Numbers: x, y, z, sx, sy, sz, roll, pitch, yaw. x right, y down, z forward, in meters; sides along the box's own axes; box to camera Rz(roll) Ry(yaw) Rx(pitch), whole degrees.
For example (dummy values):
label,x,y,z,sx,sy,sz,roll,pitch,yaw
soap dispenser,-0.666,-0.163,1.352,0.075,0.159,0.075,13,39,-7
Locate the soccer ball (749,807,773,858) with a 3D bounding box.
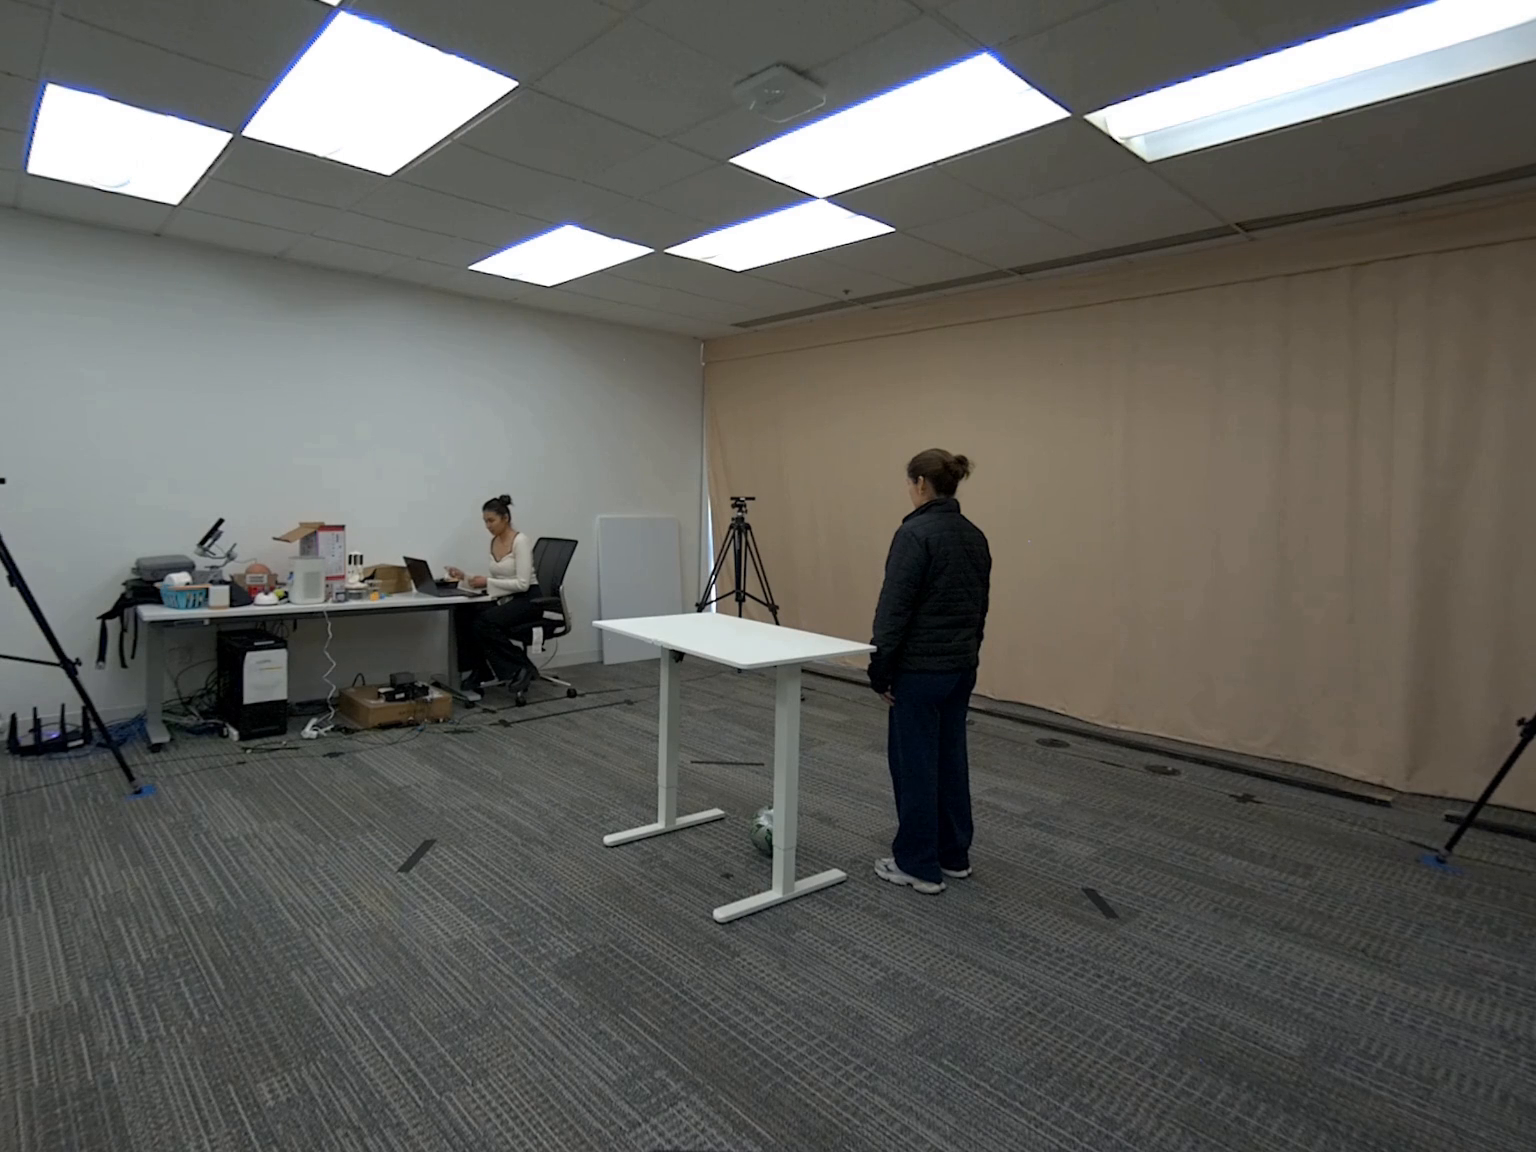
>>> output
label,x,y,z,sx,sy,sz,roll,pitch,yaw
soccer ball,0.018,0.991,3.299,0.187,0.187,0.188,1,4,-1
